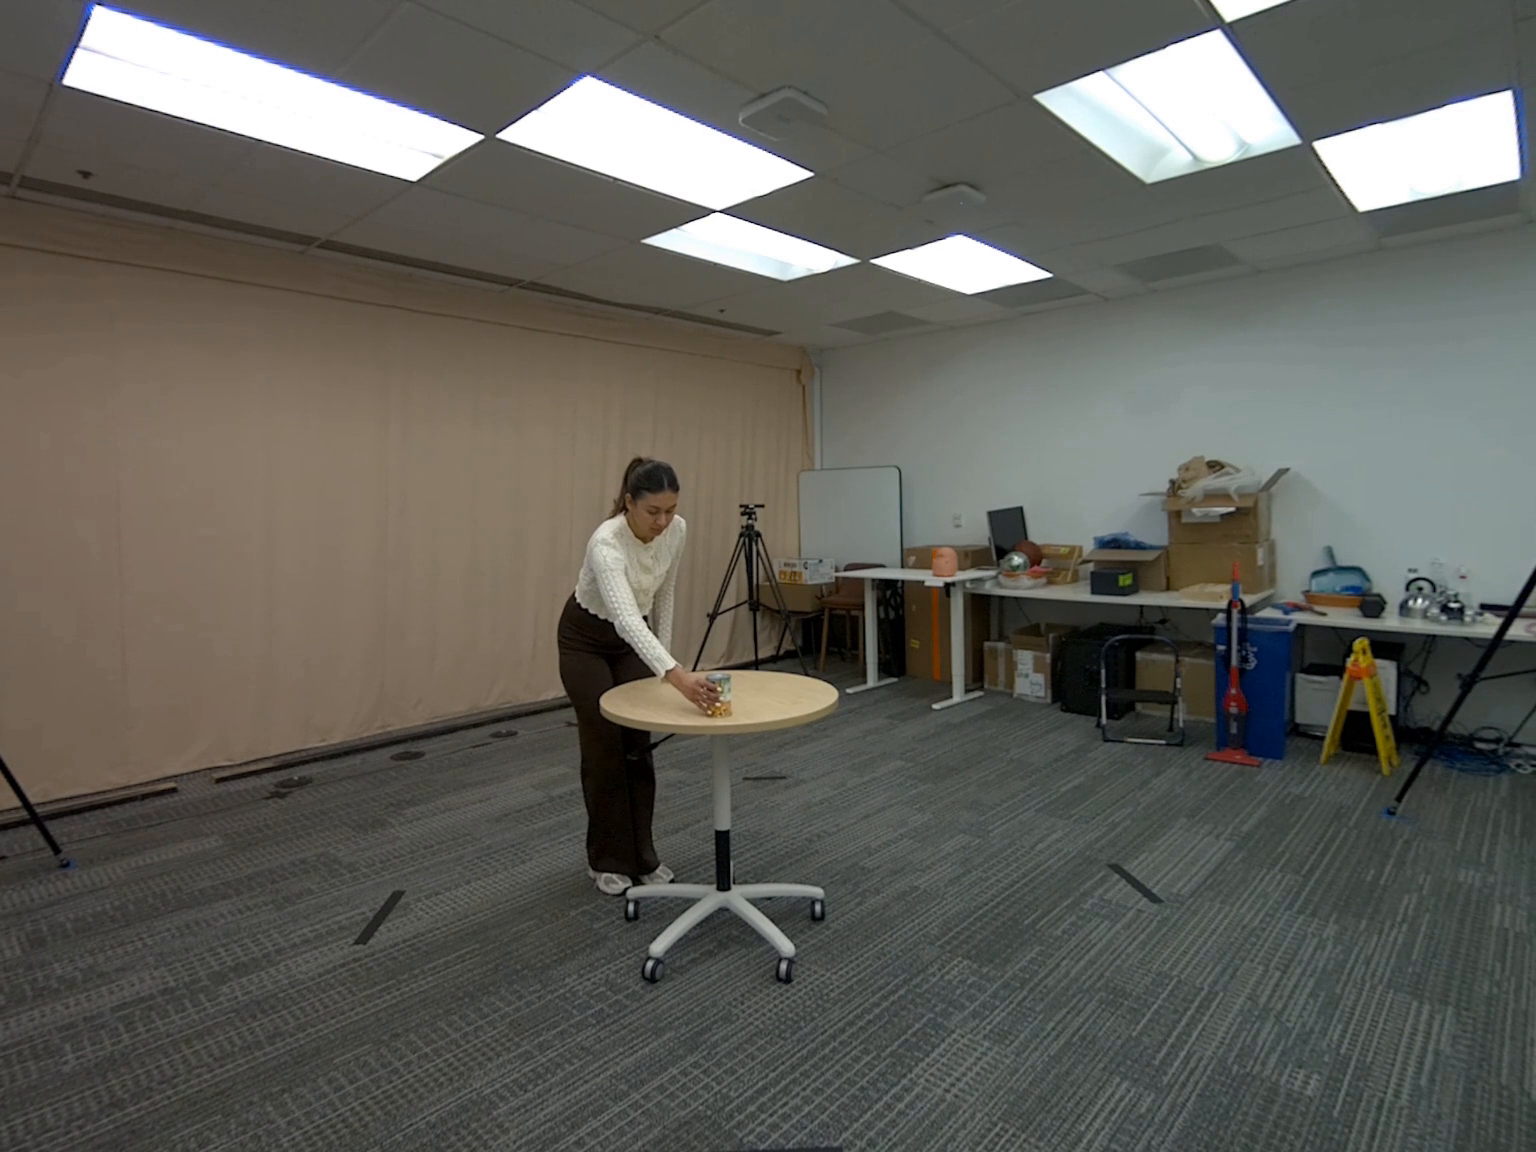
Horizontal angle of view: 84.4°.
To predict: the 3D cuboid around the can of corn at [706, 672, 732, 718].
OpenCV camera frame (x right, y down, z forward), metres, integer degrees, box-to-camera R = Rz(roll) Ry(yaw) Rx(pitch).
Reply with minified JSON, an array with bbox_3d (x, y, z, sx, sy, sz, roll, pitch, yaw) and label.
[{"bbox_3d":[-0.144,0.354,2.438,0.074,0.110,0.074,-5,6,-1],"label":"can of corn"}]
